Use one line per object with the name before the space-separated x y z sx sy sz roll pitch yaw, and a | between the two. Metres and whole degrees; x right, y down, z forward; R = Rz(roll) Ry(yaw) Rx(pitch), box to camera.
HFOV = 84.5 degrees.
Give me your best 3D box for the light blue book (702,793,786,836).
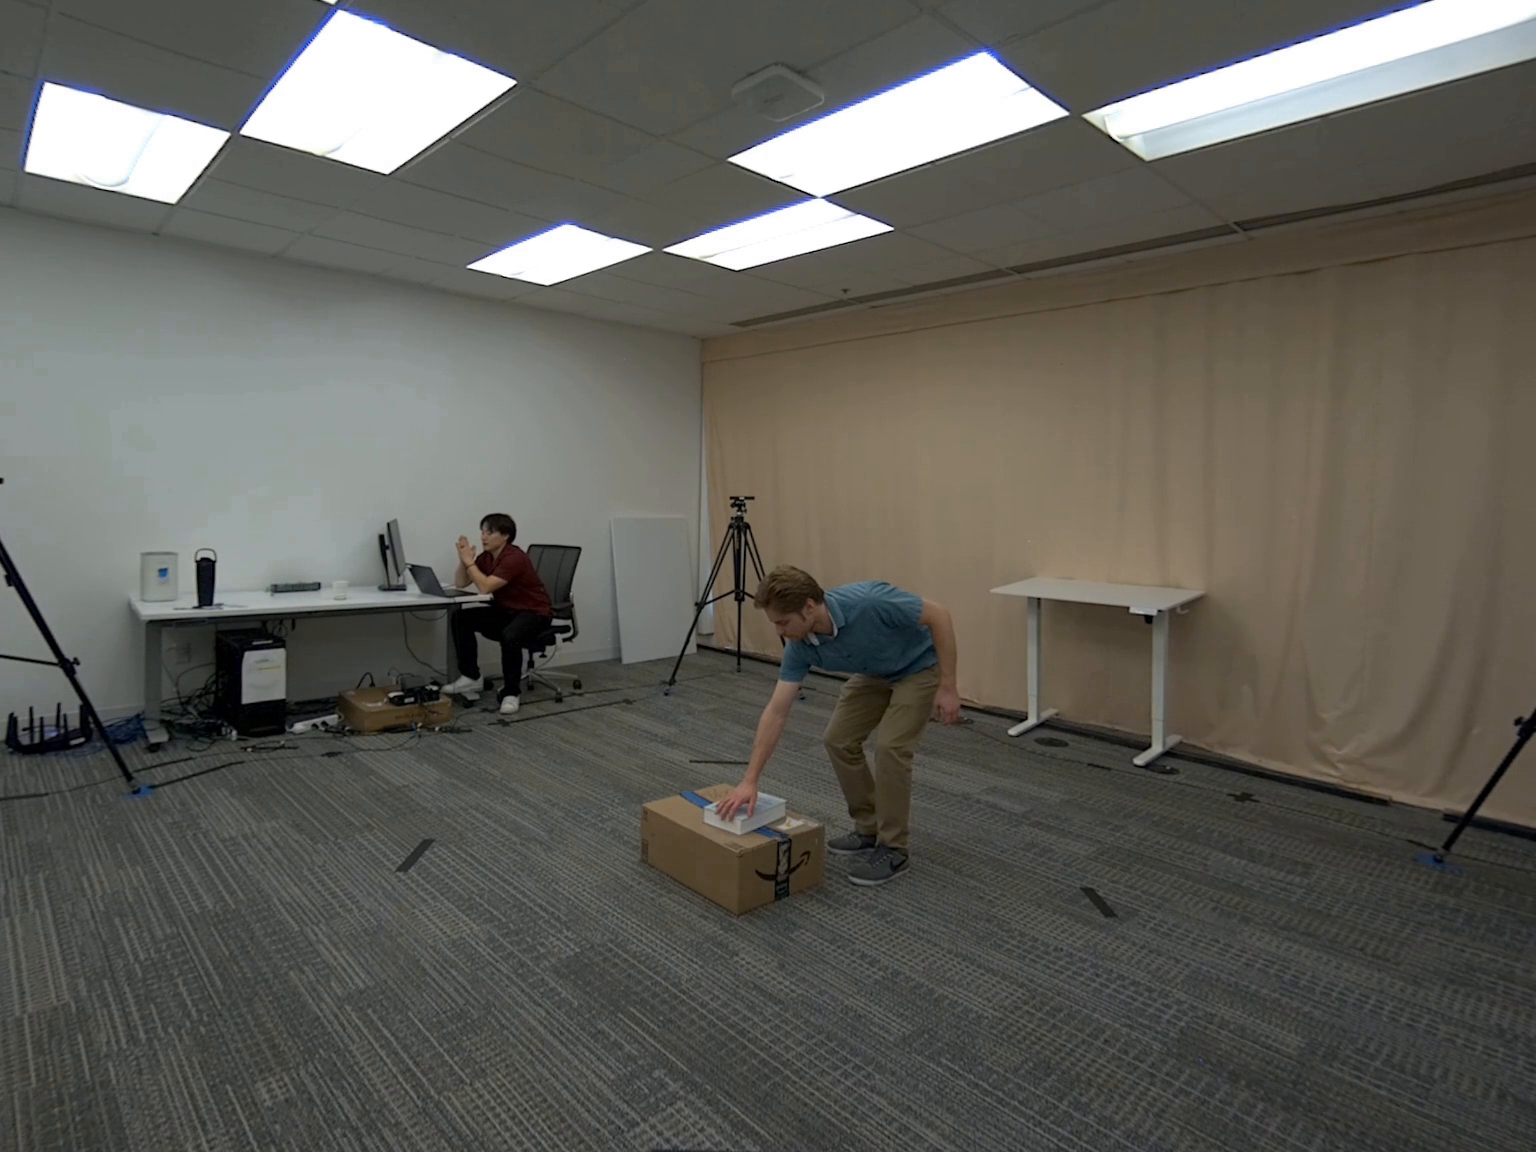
light blue book | -0.088 0.868 3.101 0.196 0.059 0.255 -2 3 39
